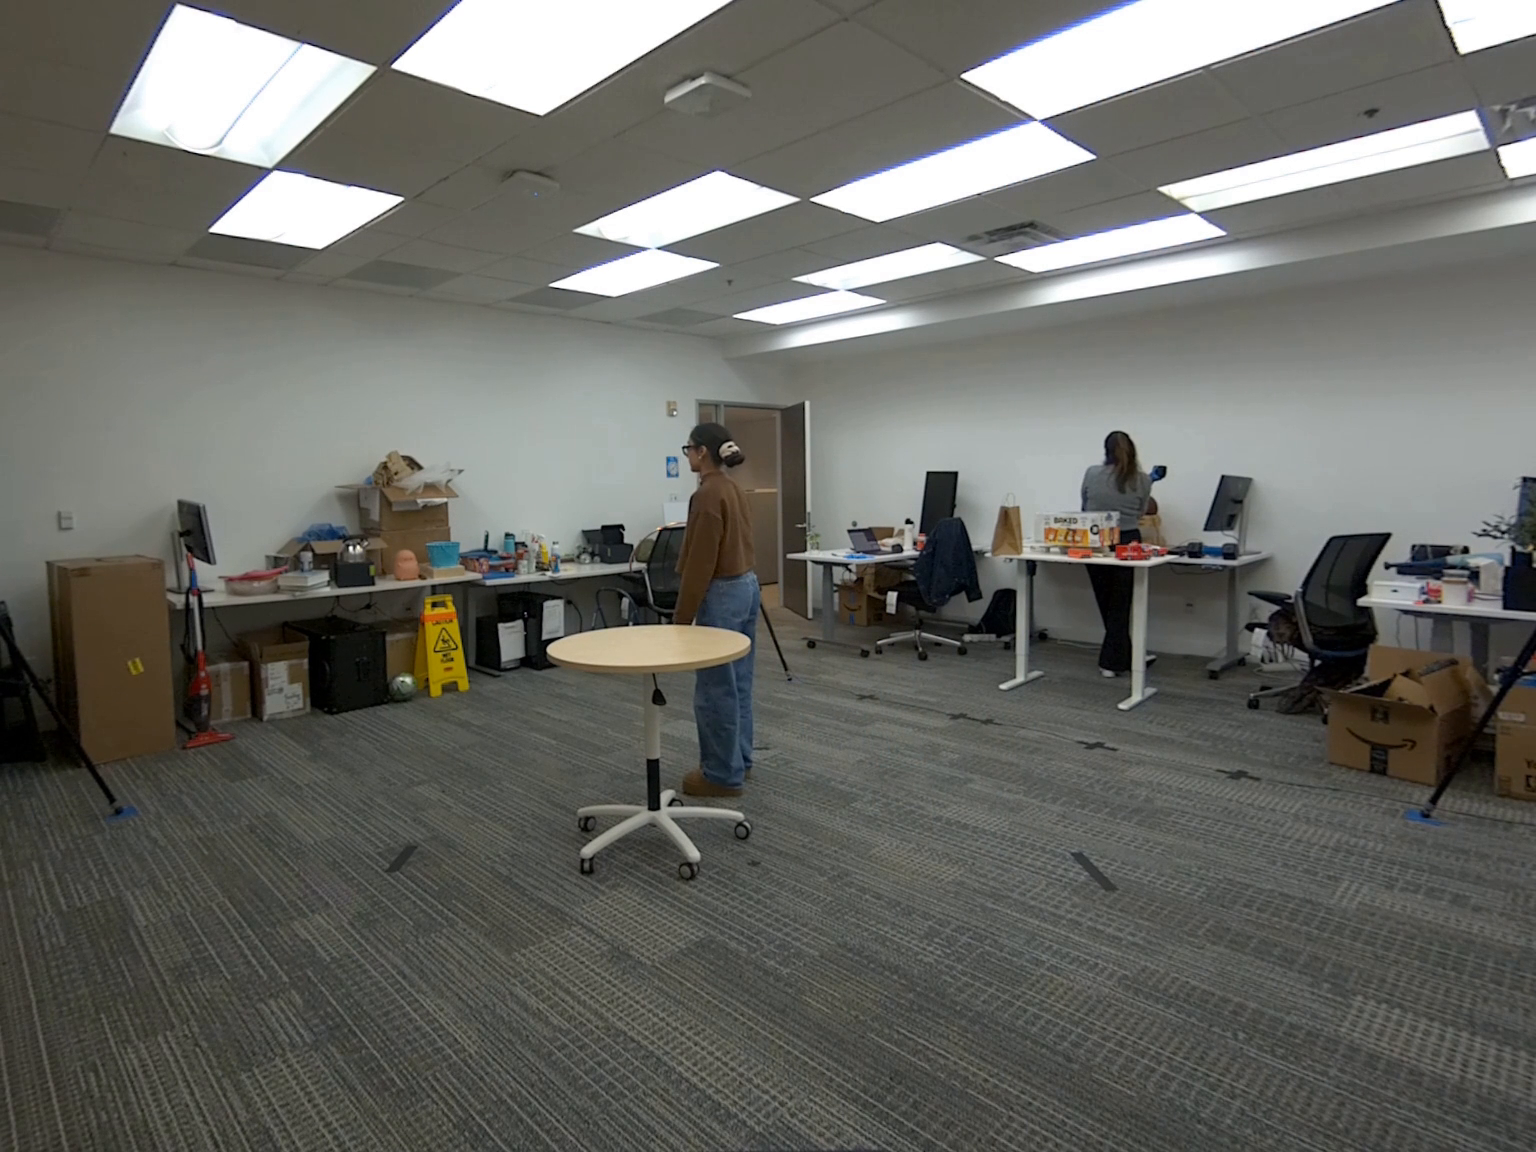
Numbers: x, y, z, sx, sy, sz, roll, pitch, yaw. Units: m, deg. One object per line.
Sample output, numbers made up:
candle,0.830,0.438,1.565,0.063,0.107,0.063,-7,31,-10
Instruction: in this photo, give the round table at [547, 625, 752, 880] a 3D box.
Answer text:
round table,-0.435,0.643,3.242,0.784,0.784,0.789,-2,5,-2
